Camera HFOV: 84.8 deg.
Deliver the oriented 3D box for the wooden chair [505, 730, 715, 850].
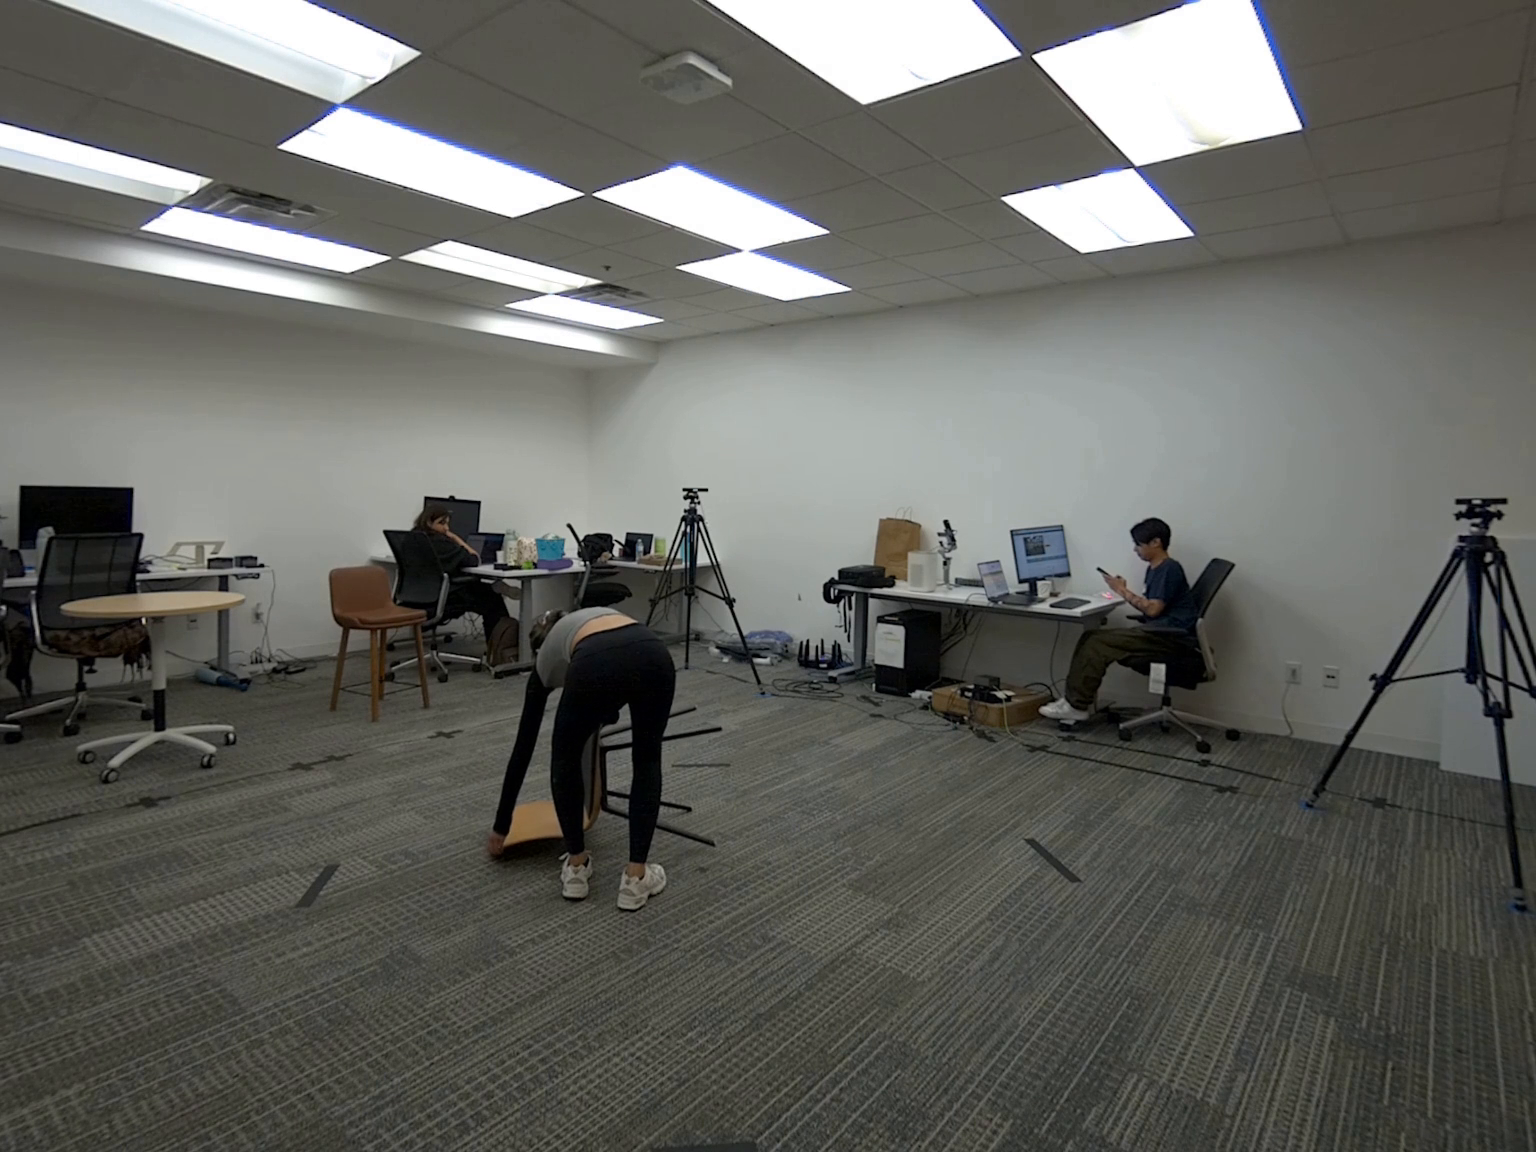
[{"bbox_3d":[-0.673,0.769,3.368,0.865,0.523,0.485,-2,1,-14],"label":"wooden chair"}]
